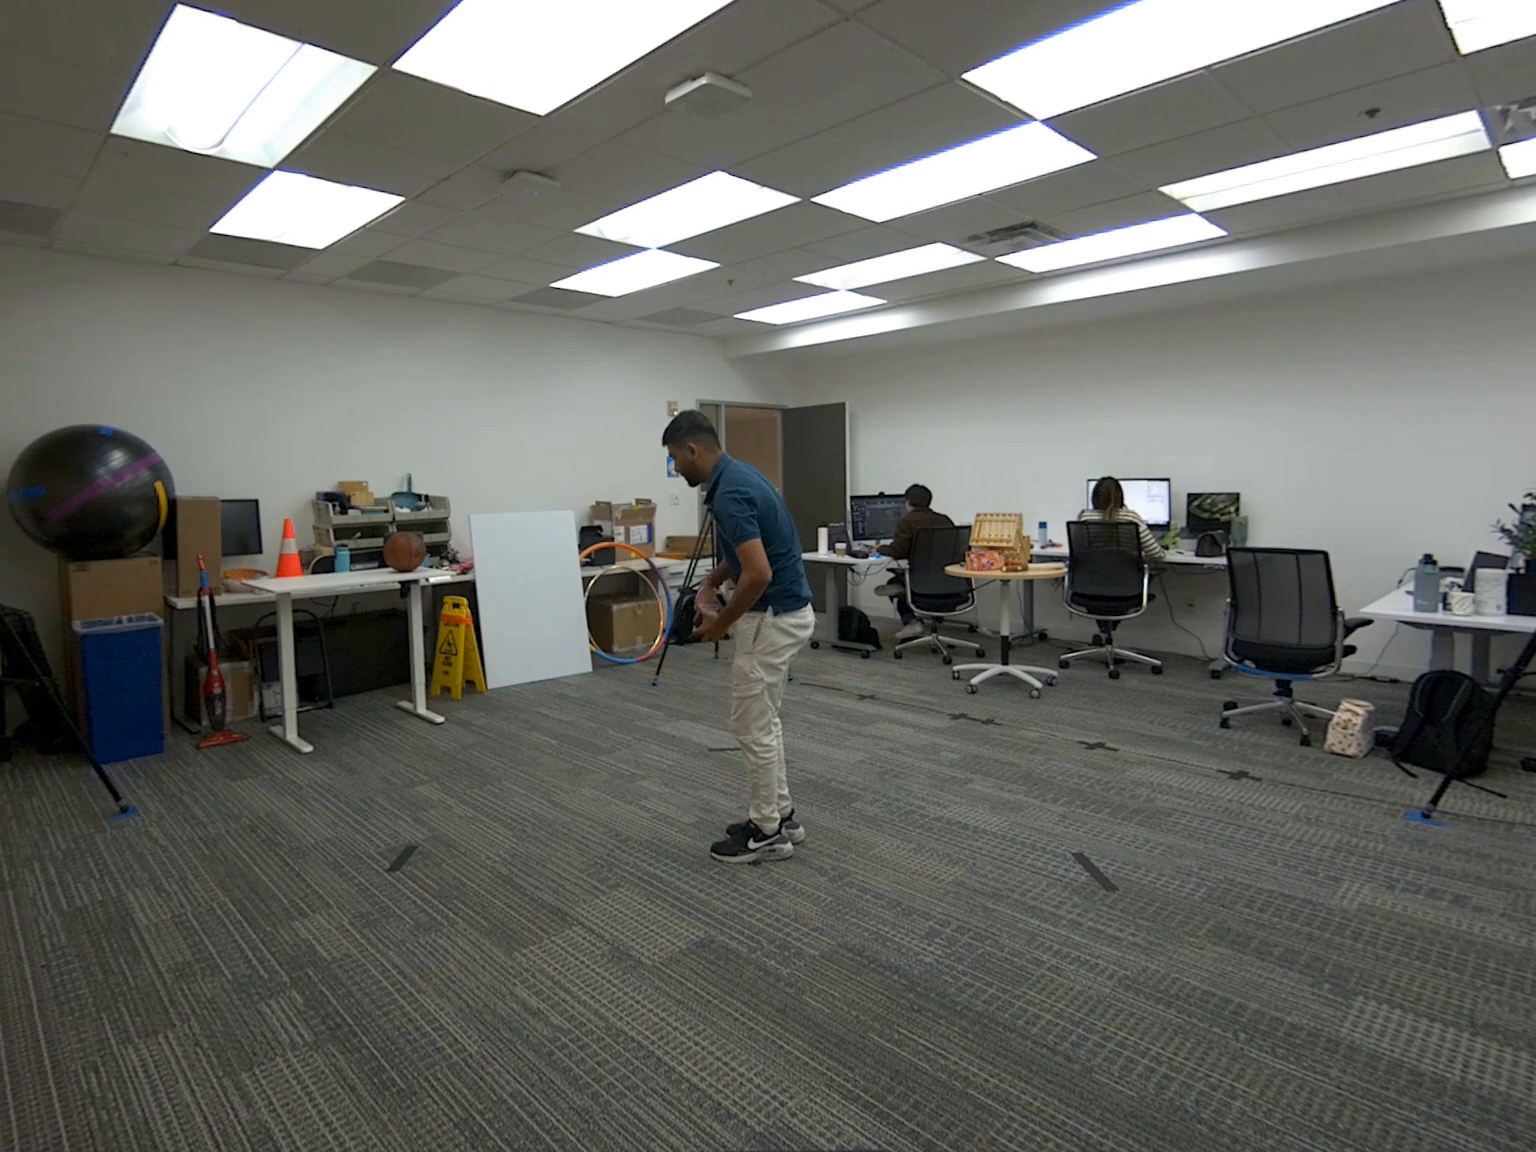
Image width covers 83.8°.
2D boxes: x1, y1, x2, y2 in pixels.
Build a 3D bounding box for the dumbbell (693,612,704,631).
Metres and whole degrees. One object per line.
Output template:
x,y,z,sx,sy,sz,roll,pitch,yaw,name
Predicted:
-0.197,0.129,3.194,0.109,0.122,0.294,-31,7,7,dumbbell
